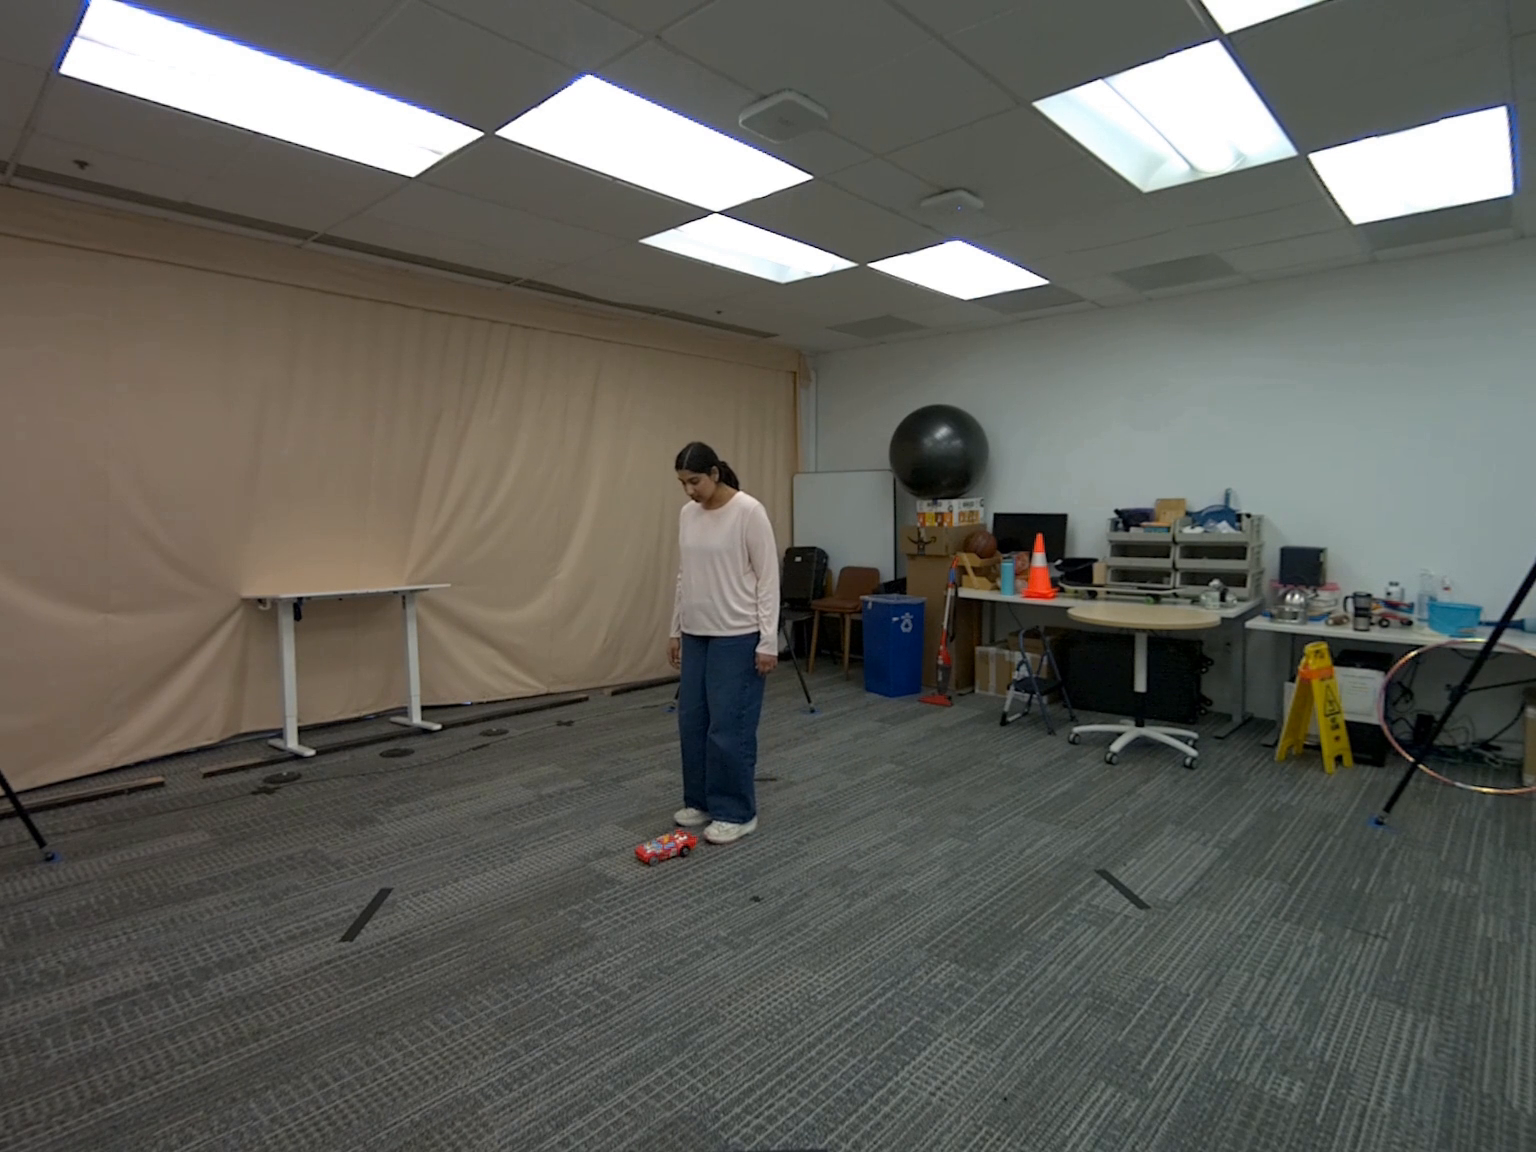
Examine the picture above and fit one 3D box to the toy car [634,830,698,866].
[{"bbox_3d":[-0.406,1.088,3.360,0.248,0.082,0.134,-17,13,-34],"label":"toy car"}]
